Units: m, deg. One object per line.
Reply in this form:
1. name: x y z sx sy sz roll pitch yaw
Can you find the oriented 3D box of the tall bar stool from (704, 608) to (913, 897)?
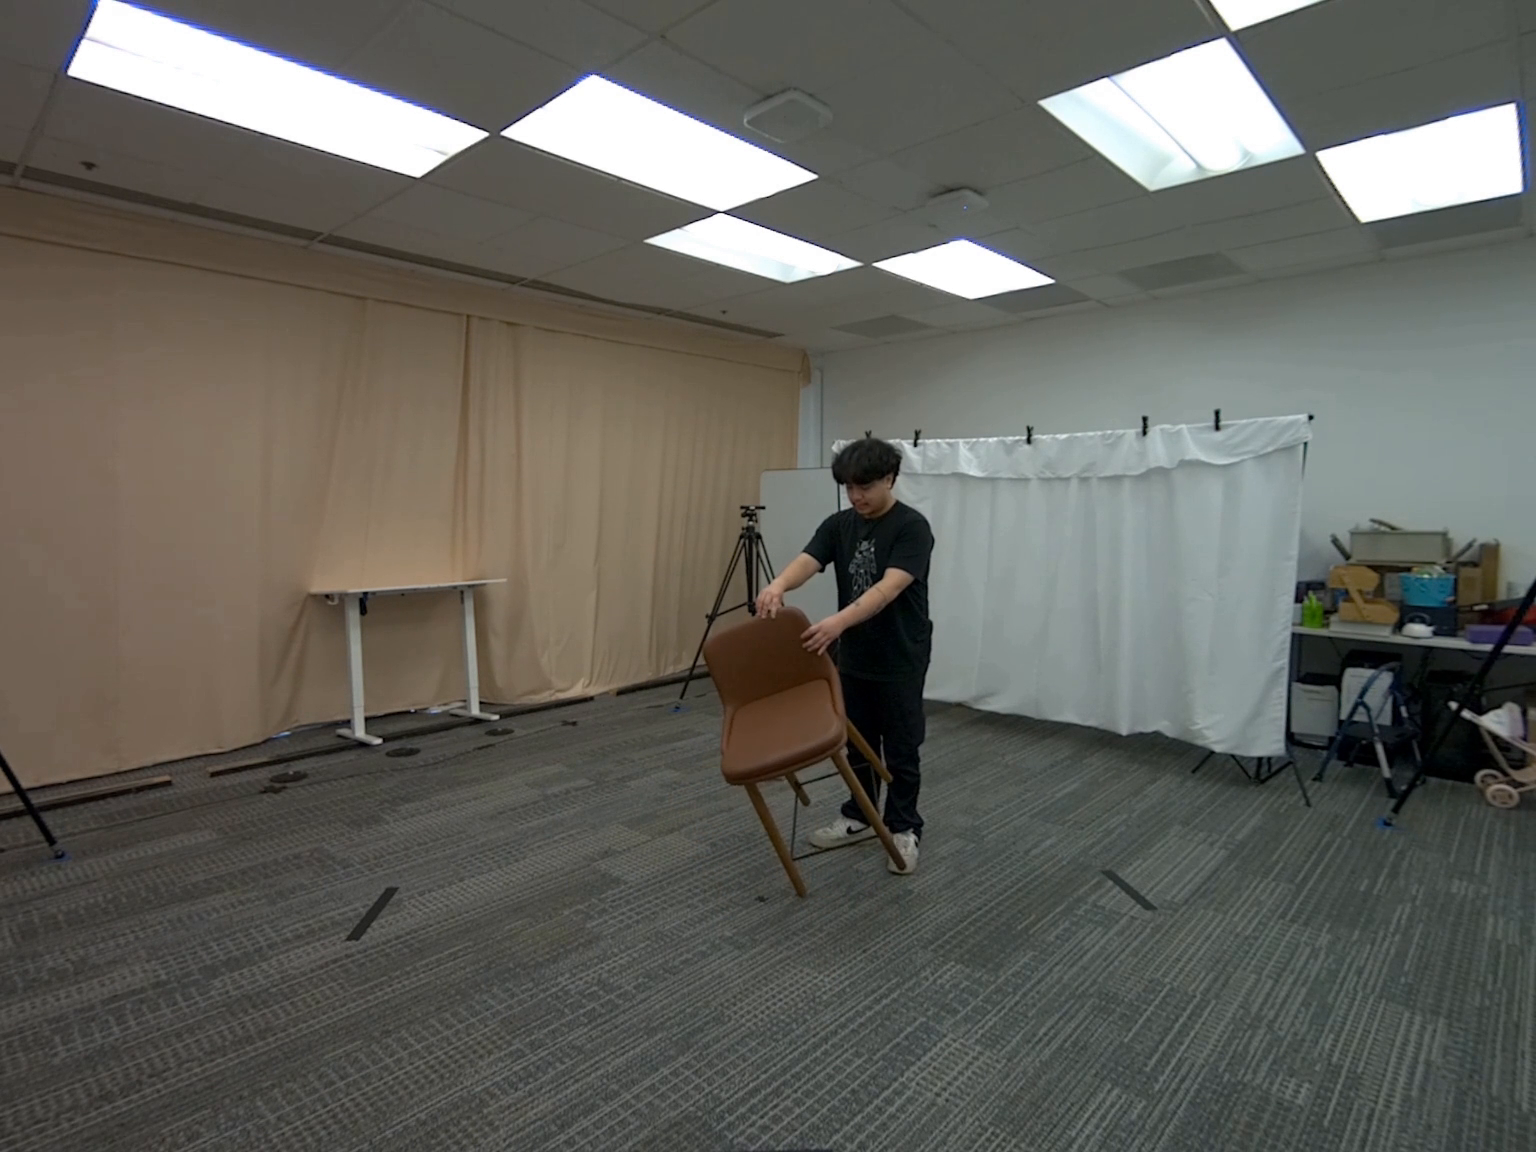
1. tall bar stool: 0.117 0.619 2.967 0.462 0.870 0.472 -21 23 16
